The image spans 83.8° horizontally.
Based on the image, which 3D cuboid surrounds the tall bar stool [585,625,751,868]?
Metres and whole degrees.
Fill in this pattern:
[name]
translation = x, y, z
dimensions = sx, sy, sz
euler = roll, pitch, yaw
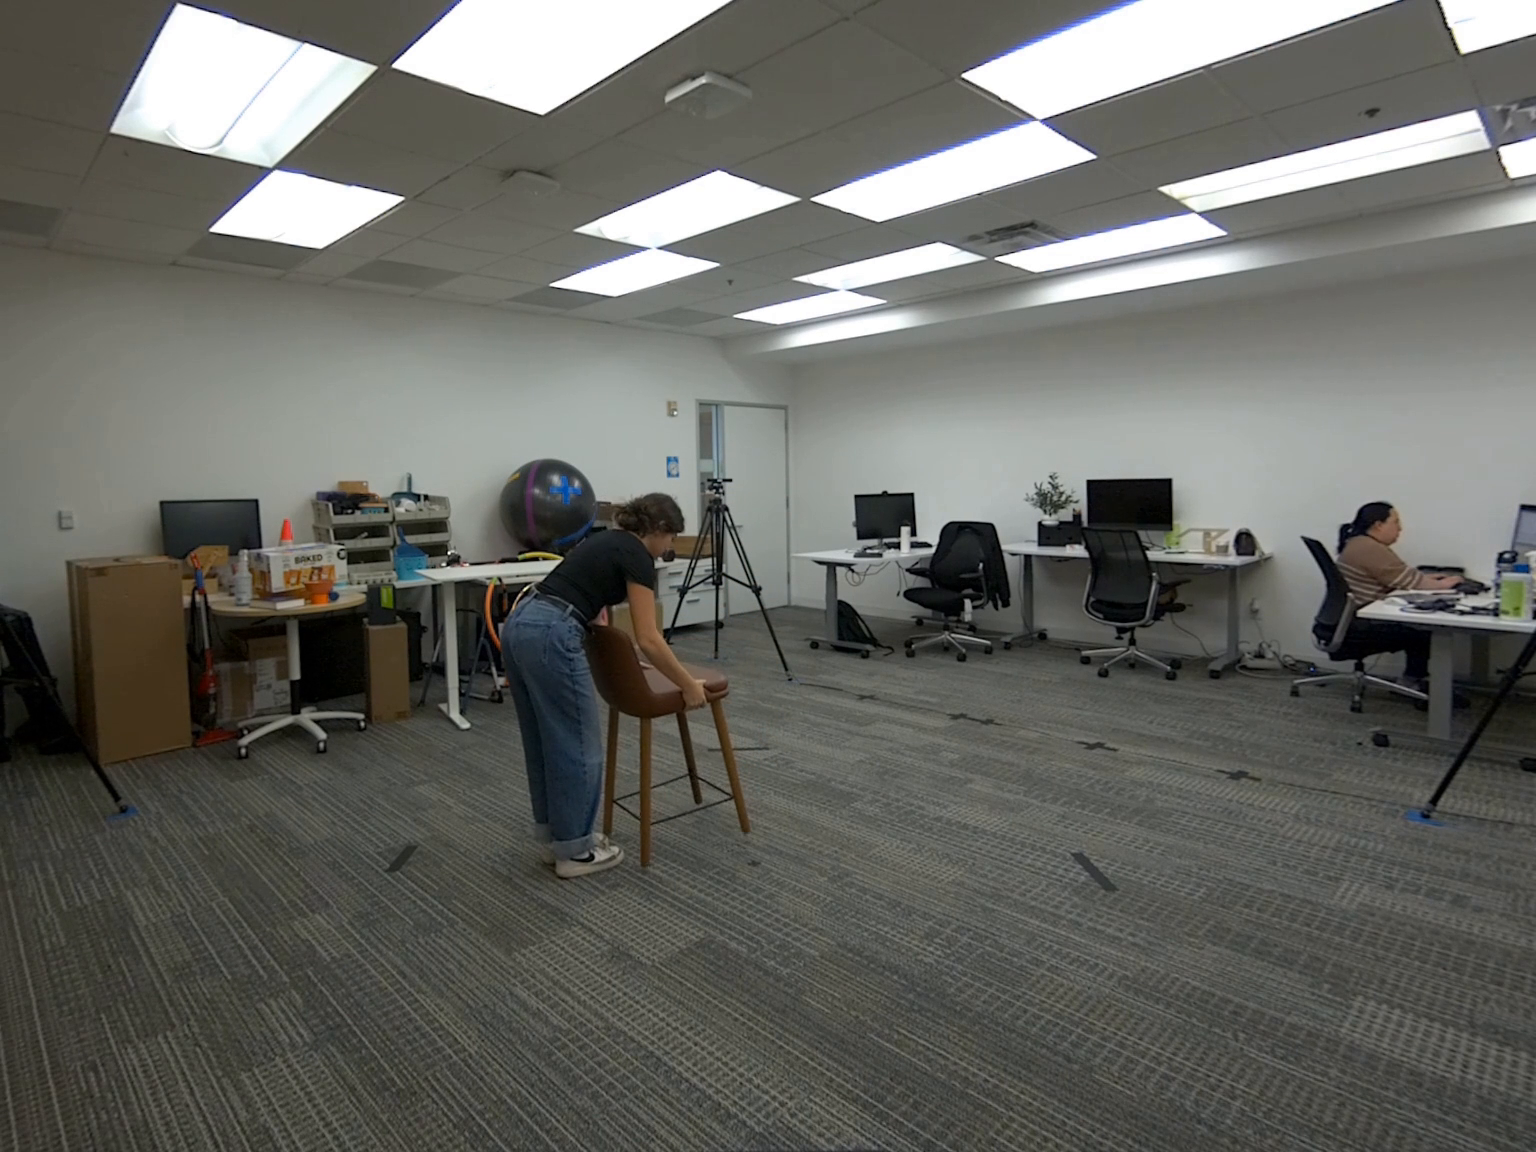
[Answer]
[tall bar stool]
translation = -0.406, 0.566, 3.276
dimensions = 0.458, 0.884, 0.469
euler = -11, 7, -32
